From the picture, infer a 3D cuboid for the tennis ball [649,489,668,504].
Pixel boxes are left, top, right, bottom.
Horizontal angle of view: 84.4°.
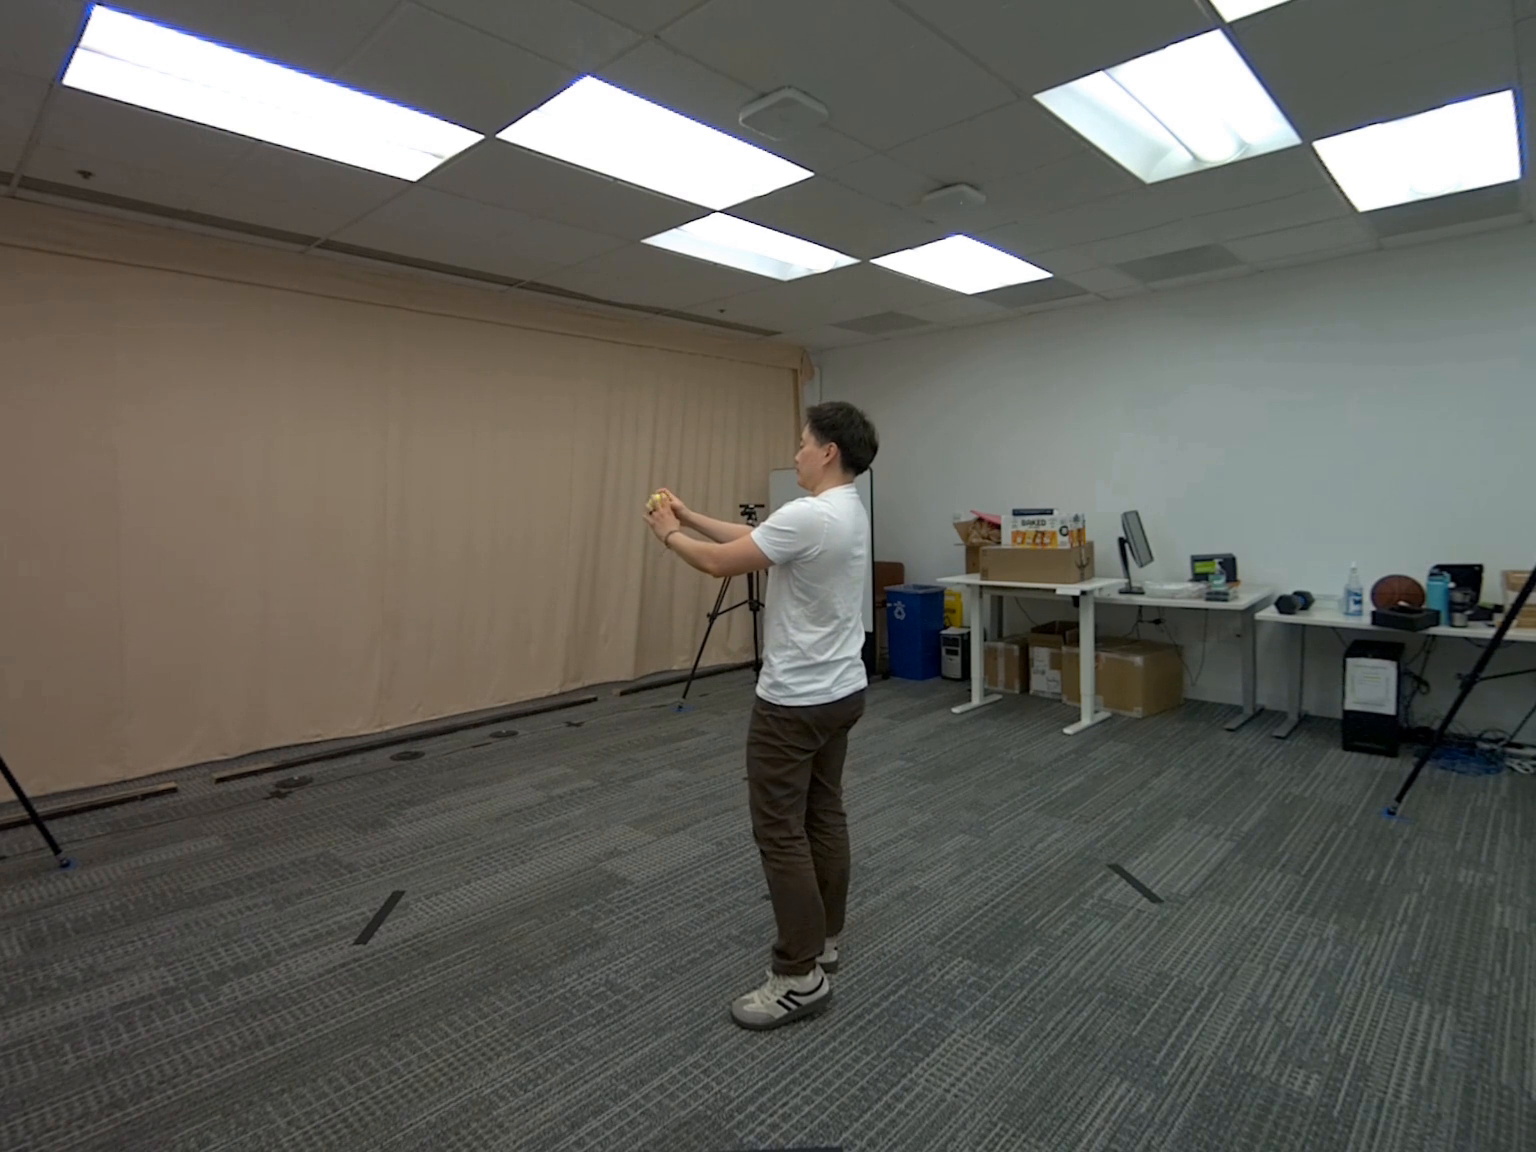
[{"bbox_3d":[-0.335,-0.221,2.652,0.066,0.066,0.067,-1,4,-2],"label":"tennis ball"}]
